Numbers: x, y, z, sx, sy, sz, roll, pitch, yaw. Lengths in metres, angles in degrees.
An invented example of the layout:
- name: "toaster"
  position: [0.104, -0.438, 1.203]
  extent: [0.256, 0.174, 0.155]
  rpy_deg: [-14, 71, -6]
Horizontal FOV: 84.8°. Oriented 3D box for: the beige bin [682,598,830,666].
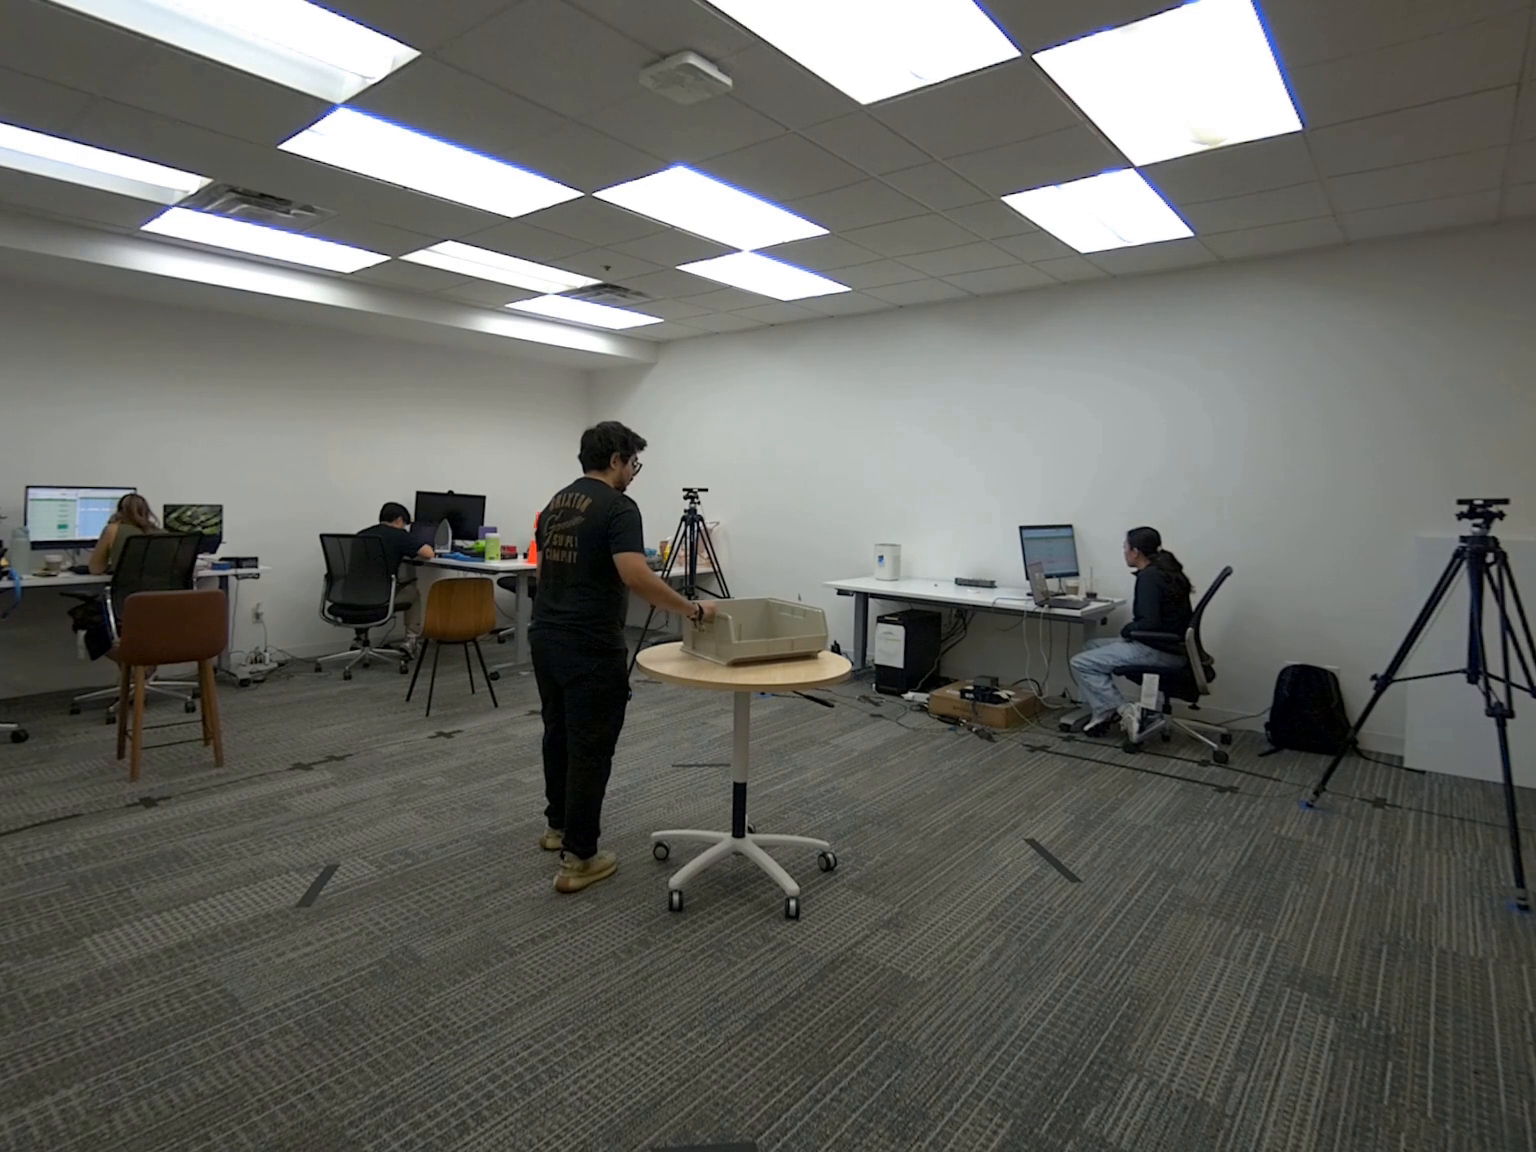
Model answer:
- name: "beige bin"
  position: [-0.063, 0.198, 3.125]
  extent: [0.410, 0.188, 0.389]
  rpy_deg: [-2, 5, -34]
